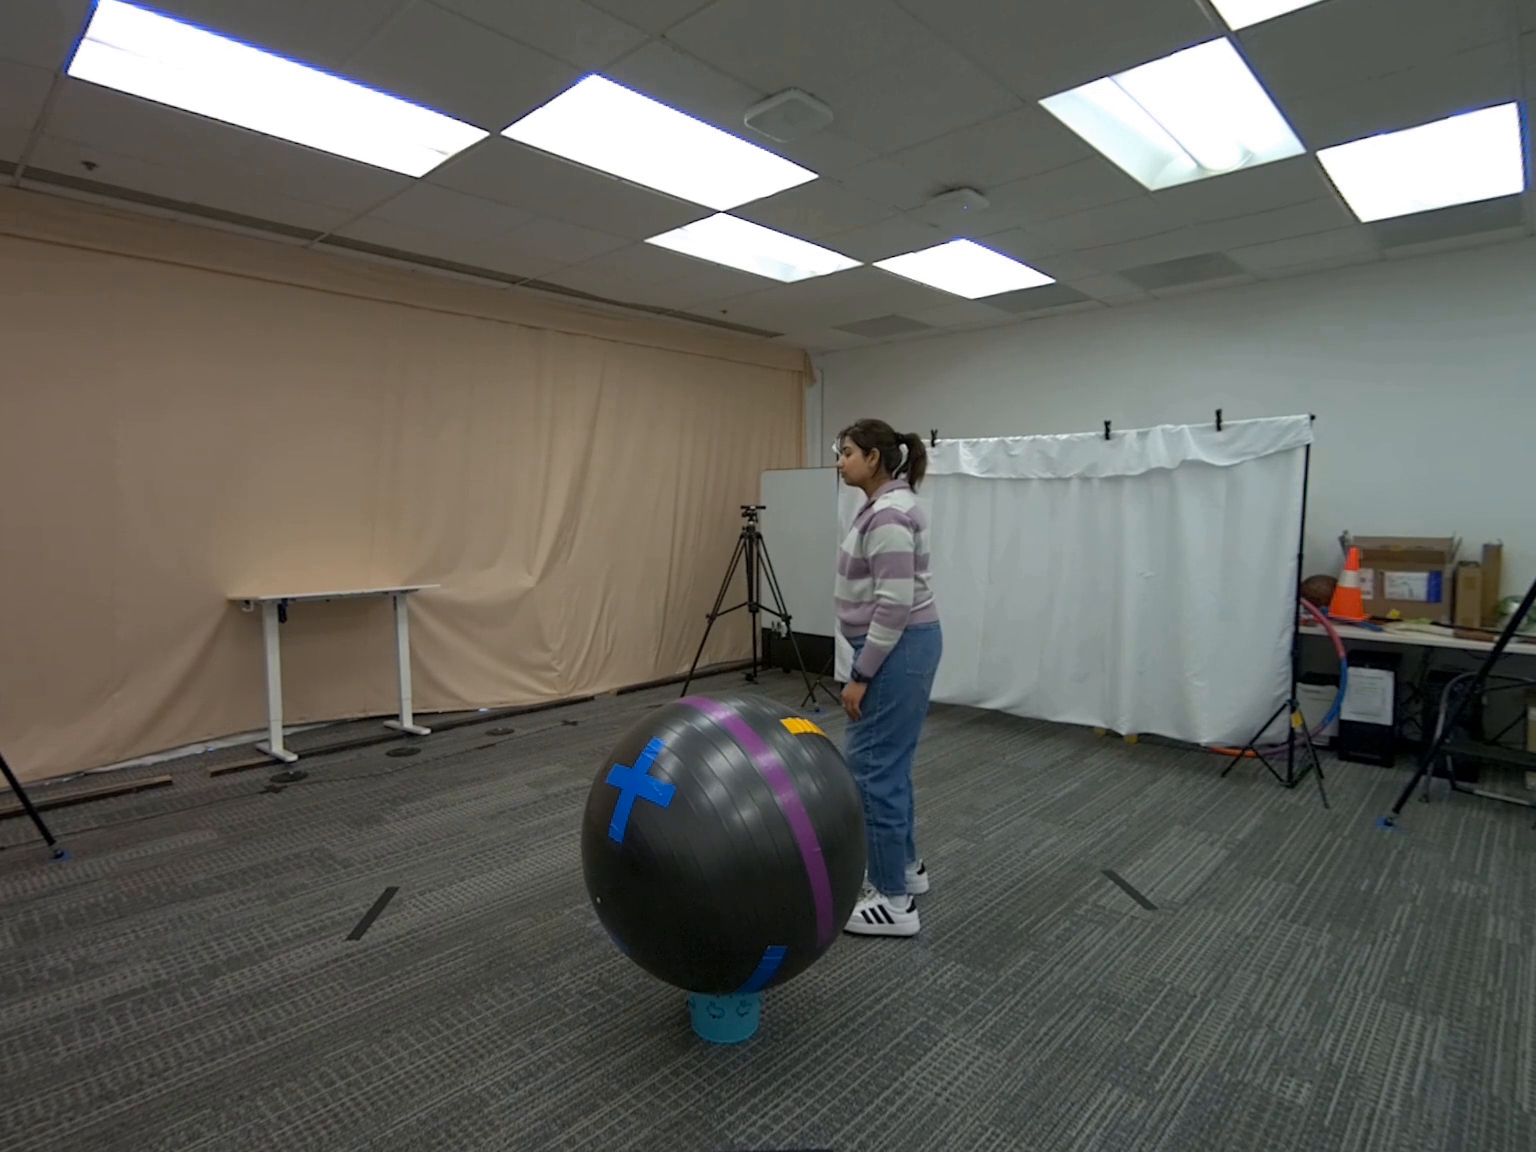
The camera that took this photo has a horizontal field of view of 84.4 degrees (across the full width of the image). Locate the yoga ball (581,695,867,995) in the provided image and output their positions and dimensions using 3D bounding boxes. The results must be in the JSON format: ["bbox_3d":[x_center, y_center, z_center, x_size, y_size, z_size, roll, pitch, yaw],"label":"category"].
[{"bbox_3d":[-0.113,0.698,2.239,0.757,0.756,0.761,0,4,-2],"label":"yoga ball"}]
